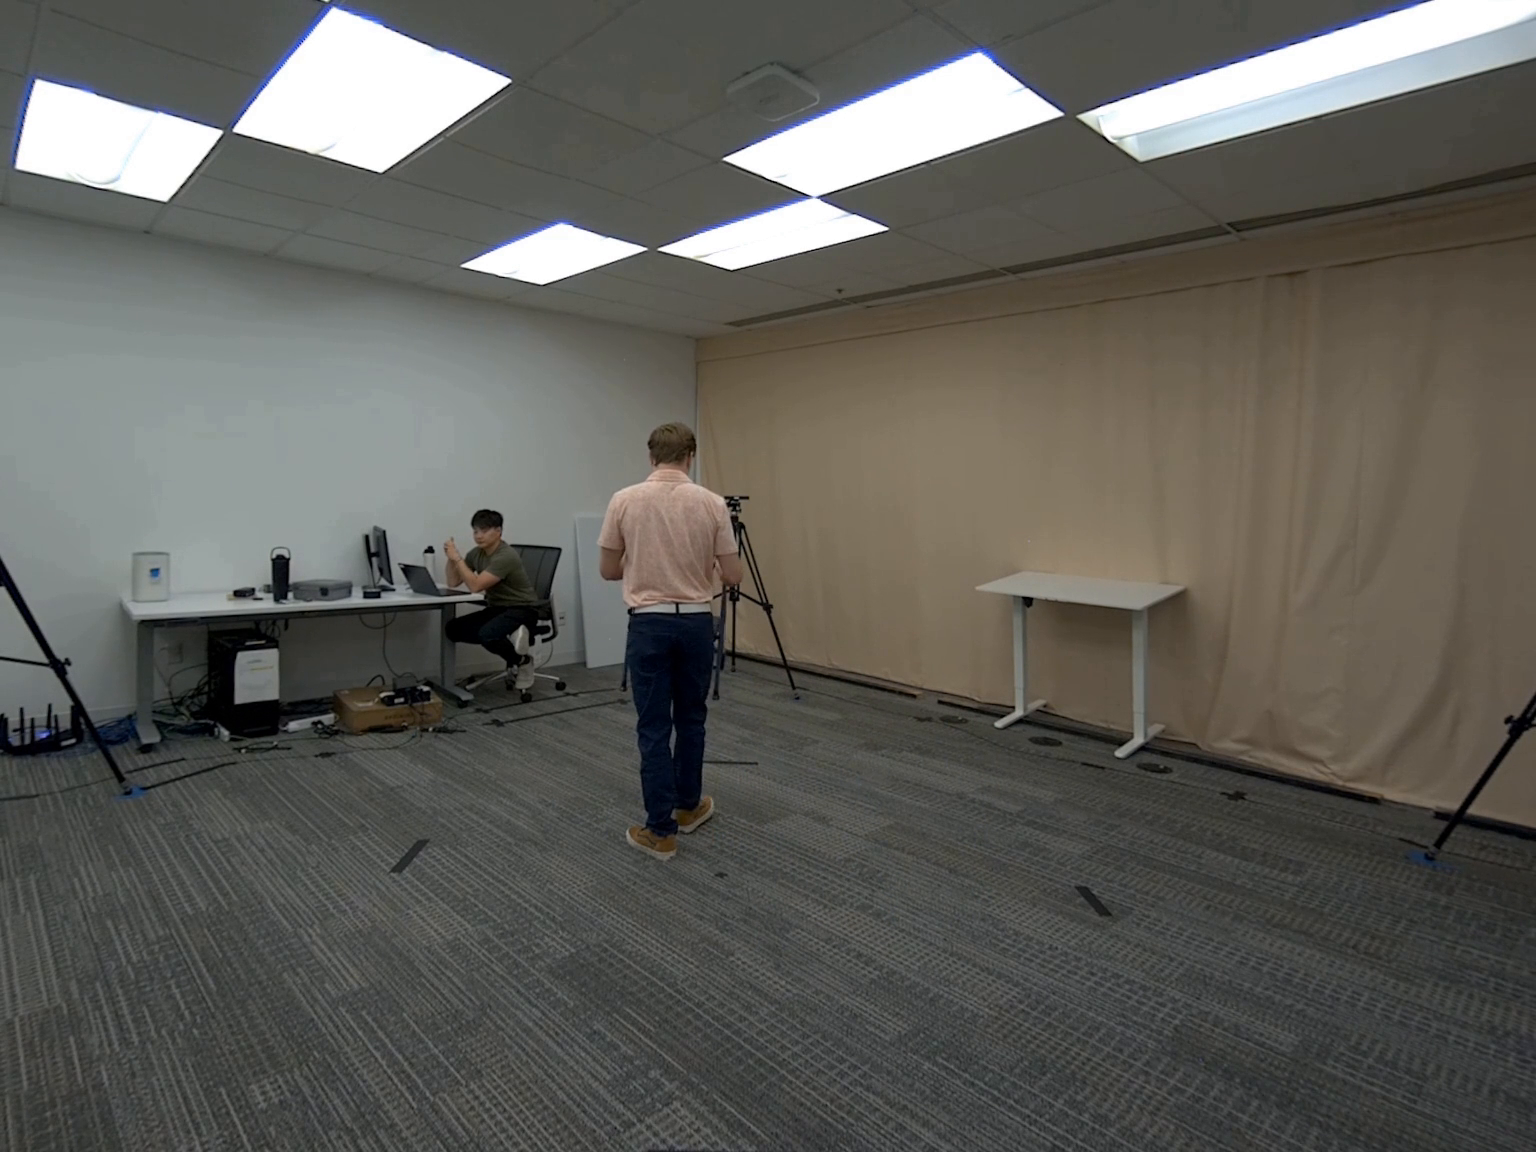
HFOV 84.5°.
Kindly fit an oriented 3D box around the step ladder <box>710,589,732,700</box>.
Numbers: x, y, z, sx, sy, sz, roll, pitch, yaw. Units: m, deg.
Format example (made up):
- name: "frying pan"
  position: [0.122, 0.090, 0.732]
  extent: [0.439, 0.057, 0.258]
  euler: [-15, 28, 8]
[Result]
- name: "step ladder"
  position: [-0.396, 0.176, 3.653]
  extent: [0.431, 0.600, 0.352]
  euler: [7, 14, 0]
